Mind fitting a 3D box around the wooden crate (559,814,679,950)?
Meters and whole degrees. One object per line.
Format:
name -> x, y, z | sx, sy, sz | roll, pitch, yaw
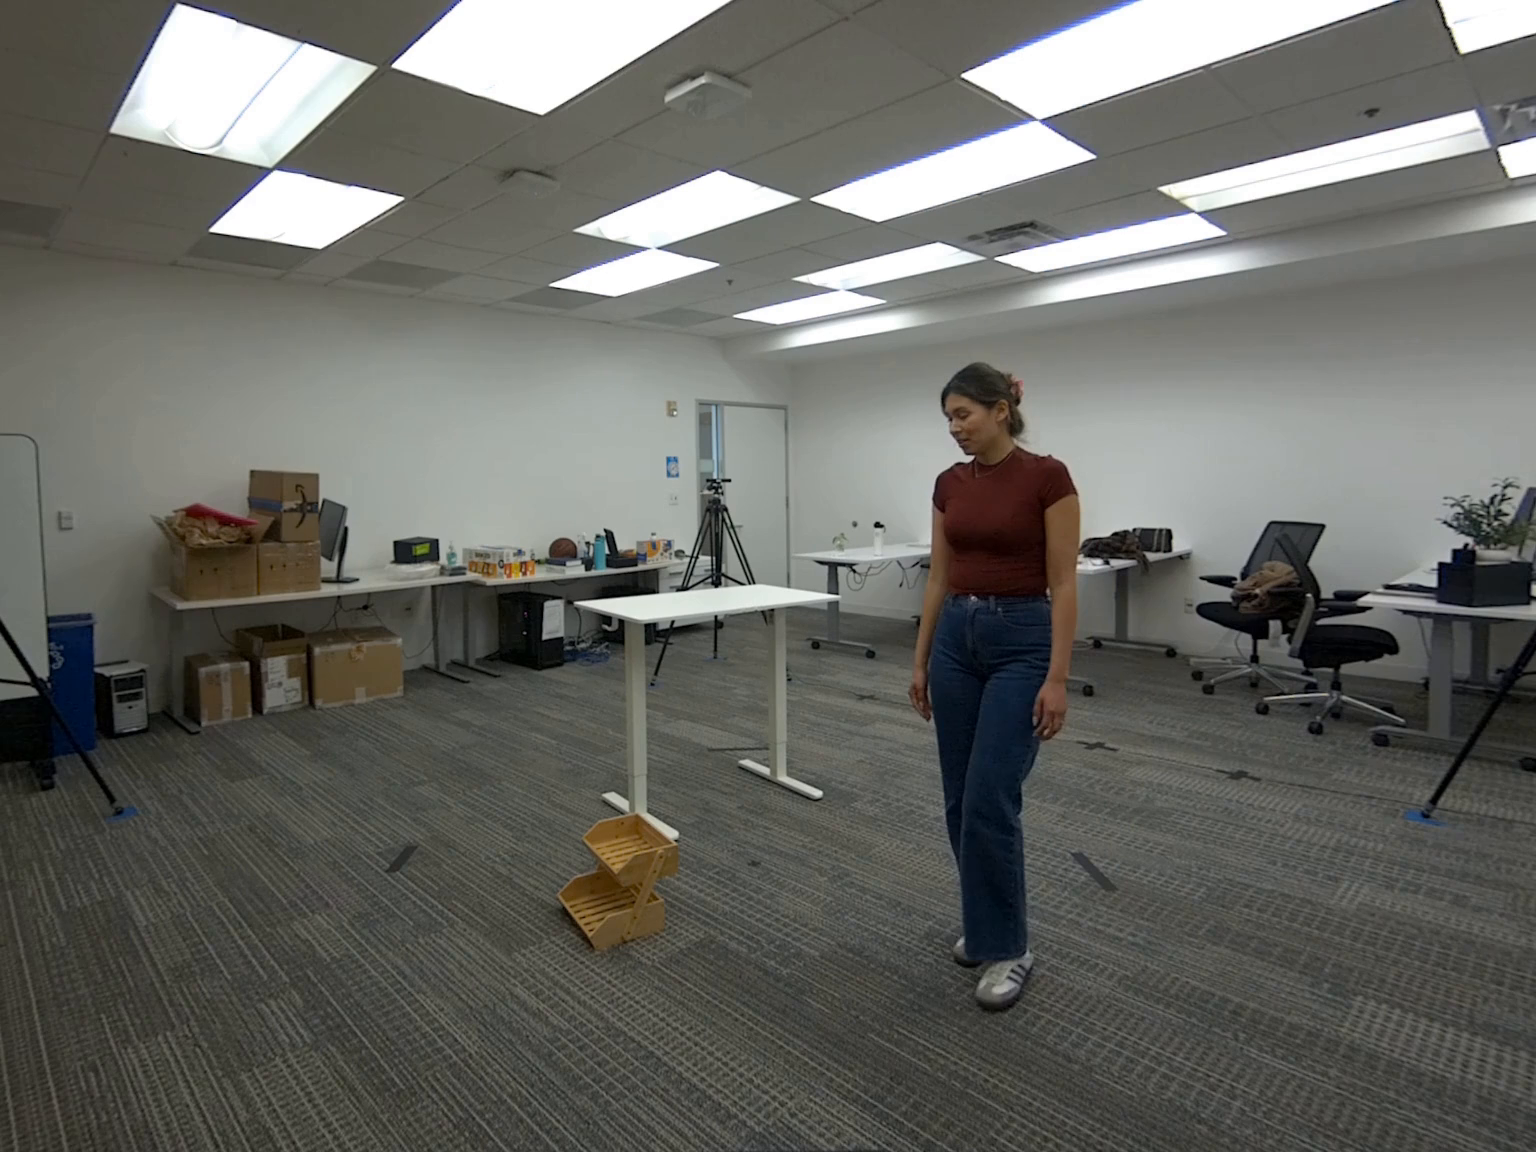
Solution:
wooden crate -> -0.484, 0.961, 2.734 | 0.295, 0.272, 0.334 | -4, 6, -31
